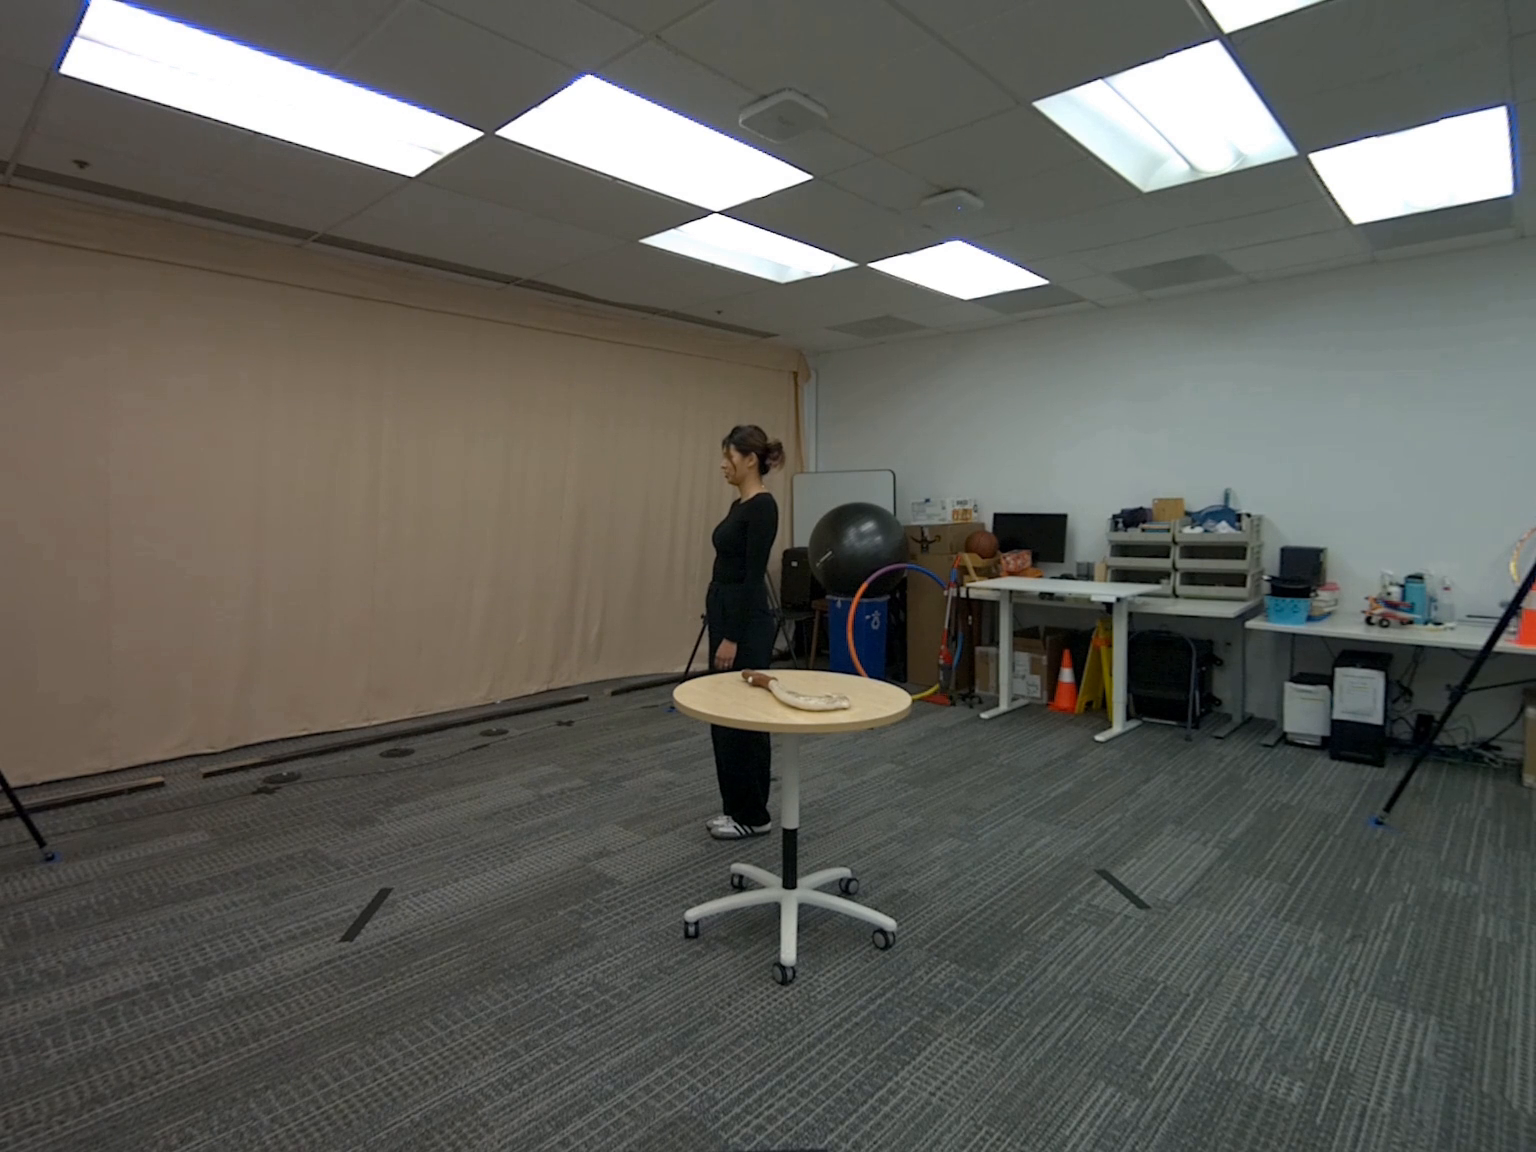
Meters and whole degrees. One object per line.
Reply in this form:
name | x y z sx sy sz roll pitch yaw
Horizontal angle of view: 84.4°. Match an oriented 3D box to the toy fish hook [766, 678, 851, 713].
toy fish hook | 0.092 0.369 2.731 0.219 0.048 0.520 3 5 -26
